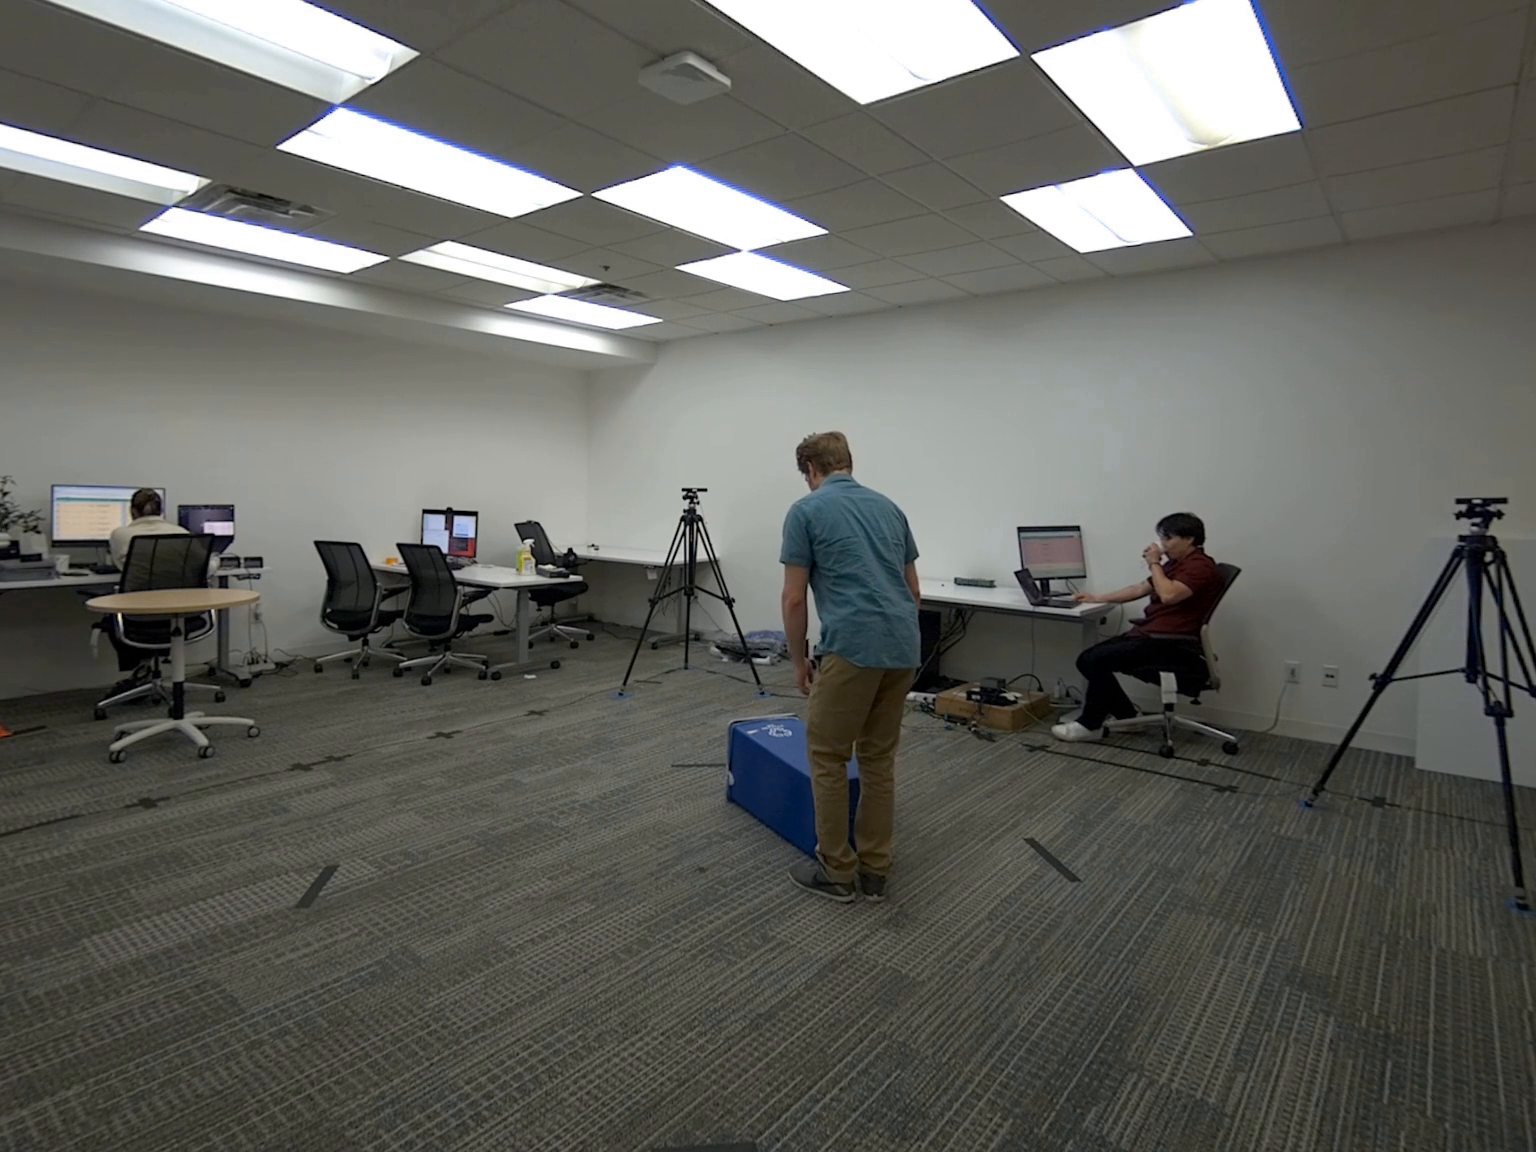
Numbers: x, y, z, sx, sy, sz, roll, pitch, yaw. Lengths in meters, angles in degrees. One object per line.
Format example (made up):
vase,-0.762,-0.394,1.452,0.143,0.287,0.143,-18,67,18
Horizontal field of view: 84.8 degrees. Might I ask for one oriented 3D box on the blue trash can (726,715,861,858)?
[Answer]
blue trash can,0.134,0.867,3.550,0.364,0.376,0.736,-2,8,-29
